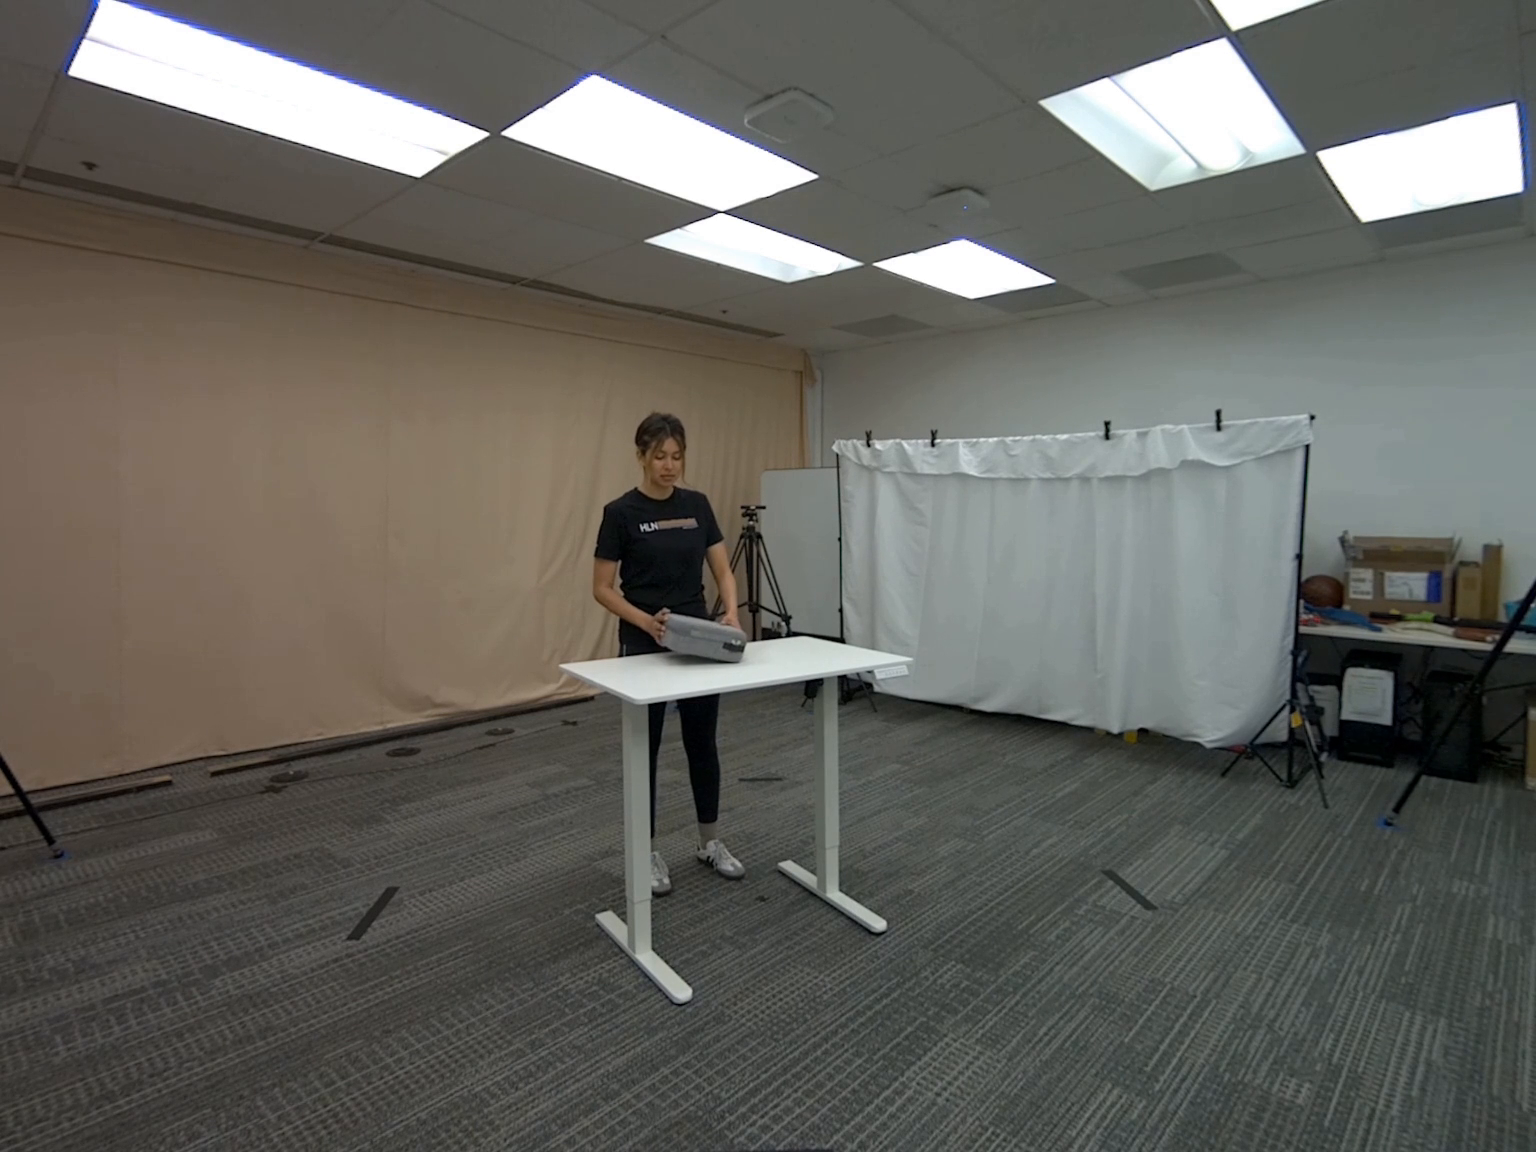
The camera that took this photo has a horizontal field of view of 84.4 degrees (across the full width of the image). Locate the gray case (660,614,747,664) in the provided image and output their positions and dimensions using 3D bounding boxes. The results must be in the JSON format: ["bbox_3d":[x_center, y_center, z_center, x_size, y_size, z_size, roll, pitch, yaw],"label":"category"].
[{"bbox_3d":[-0.209,0.207,2.800,0.255,0.104,0.262,11,0,-7],"label":"gray case"}]
